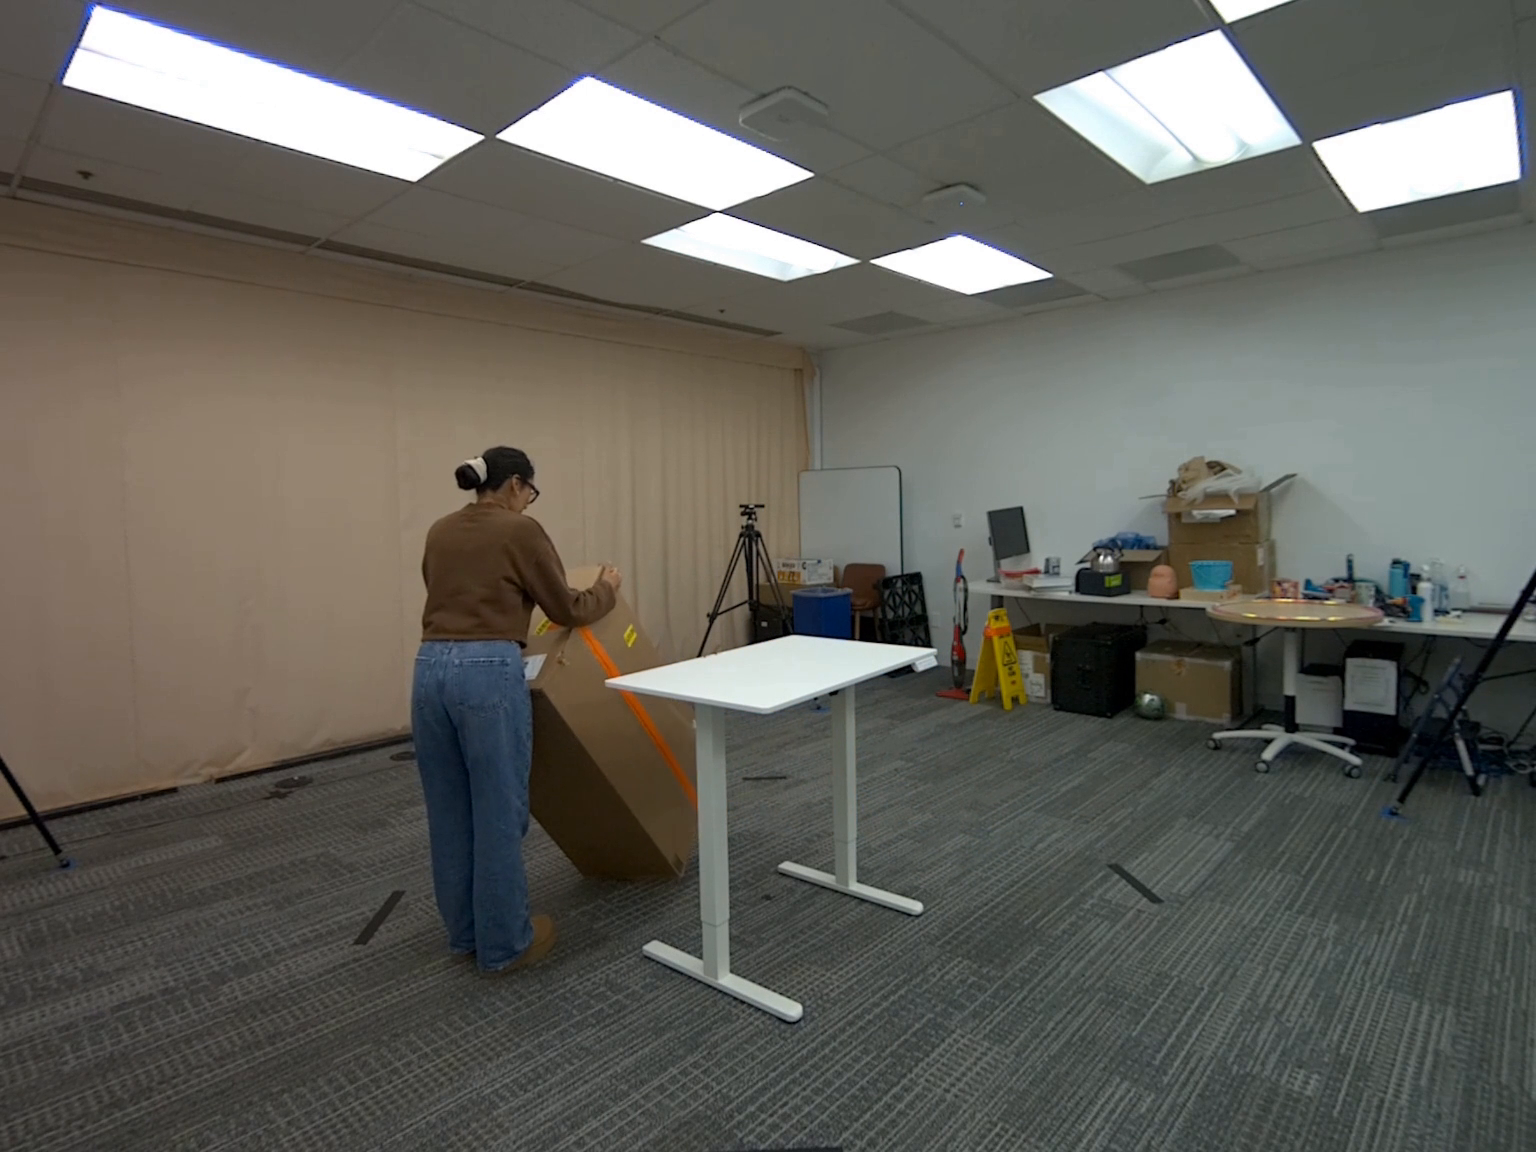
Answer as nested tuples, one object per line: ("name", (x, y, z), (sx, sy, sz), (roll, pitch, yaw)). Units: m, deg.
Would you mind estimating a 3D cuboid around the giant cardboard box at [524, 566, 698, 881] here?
("giant cardboard box", (-0.631, 0.557, 3.057), (0.435, 0.997, 0.582), (-10, 36, 22))
